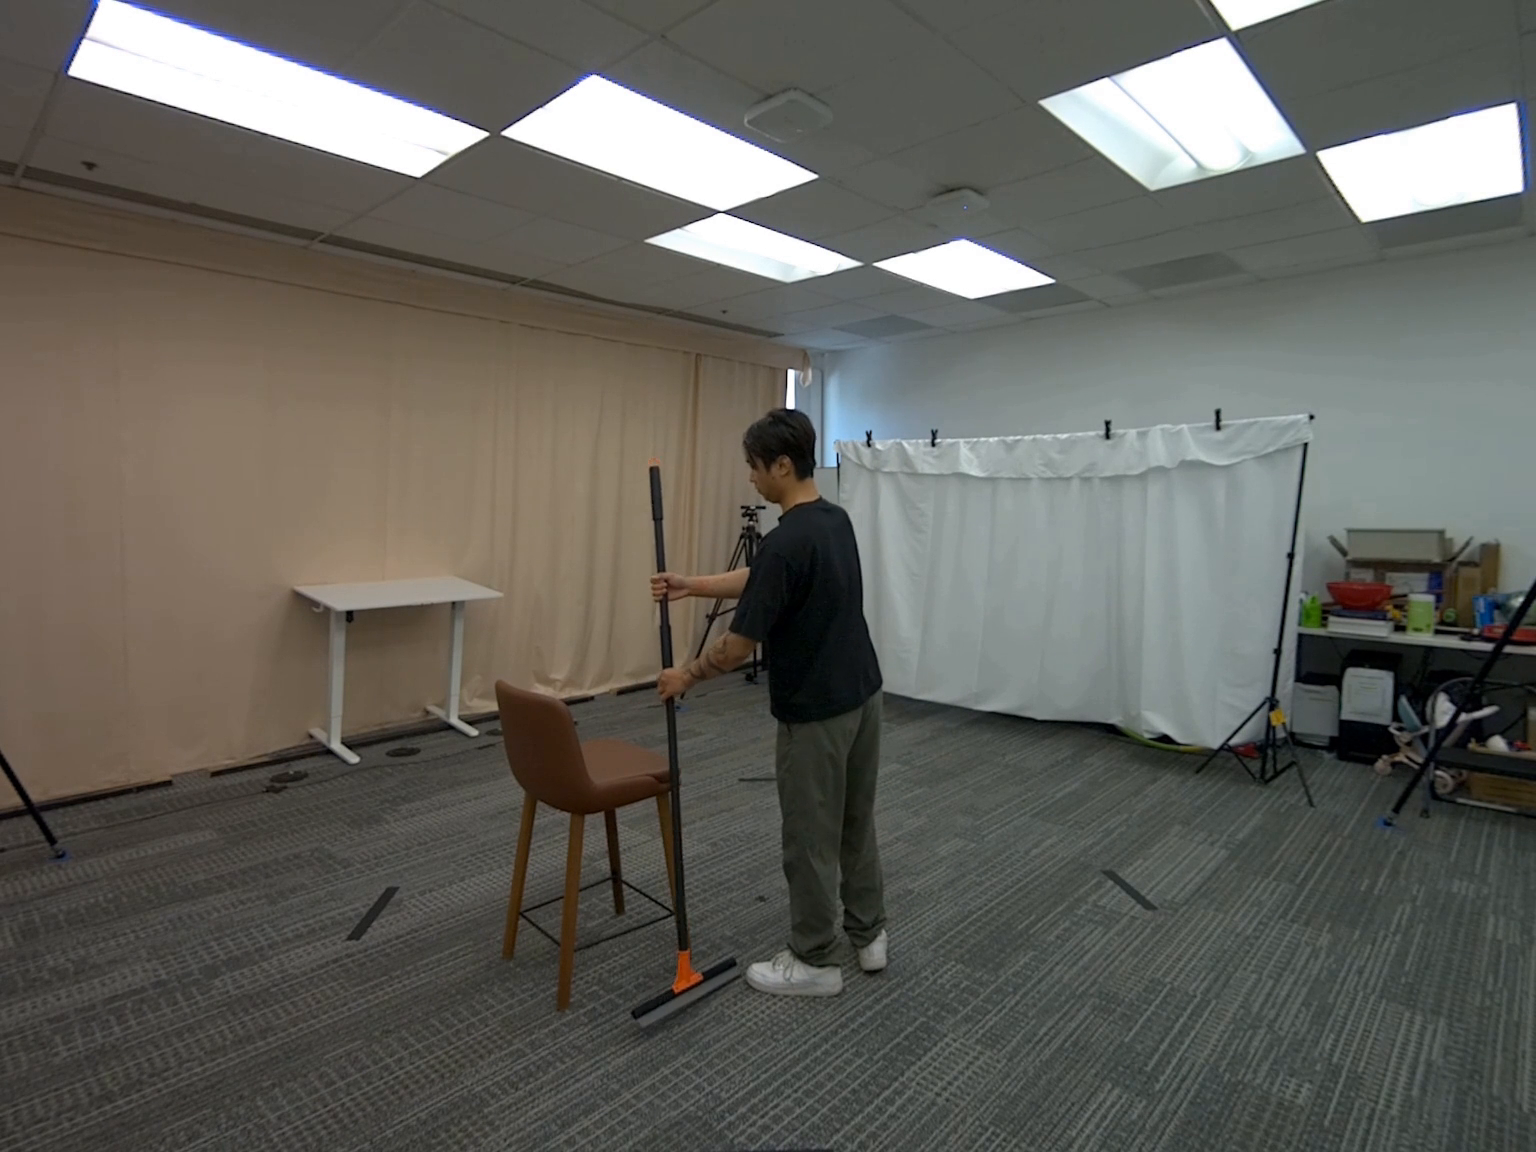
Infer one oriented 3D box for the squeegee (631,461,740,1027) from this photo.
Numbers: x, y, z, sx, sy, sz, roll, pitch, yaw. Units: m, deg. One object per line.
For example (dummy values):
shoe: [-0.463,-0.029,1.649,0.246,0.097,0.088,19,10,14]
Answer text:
squeegee: [-0.275,0.421,2.417,0.054,1.540,0.424,-7,-3,36]
